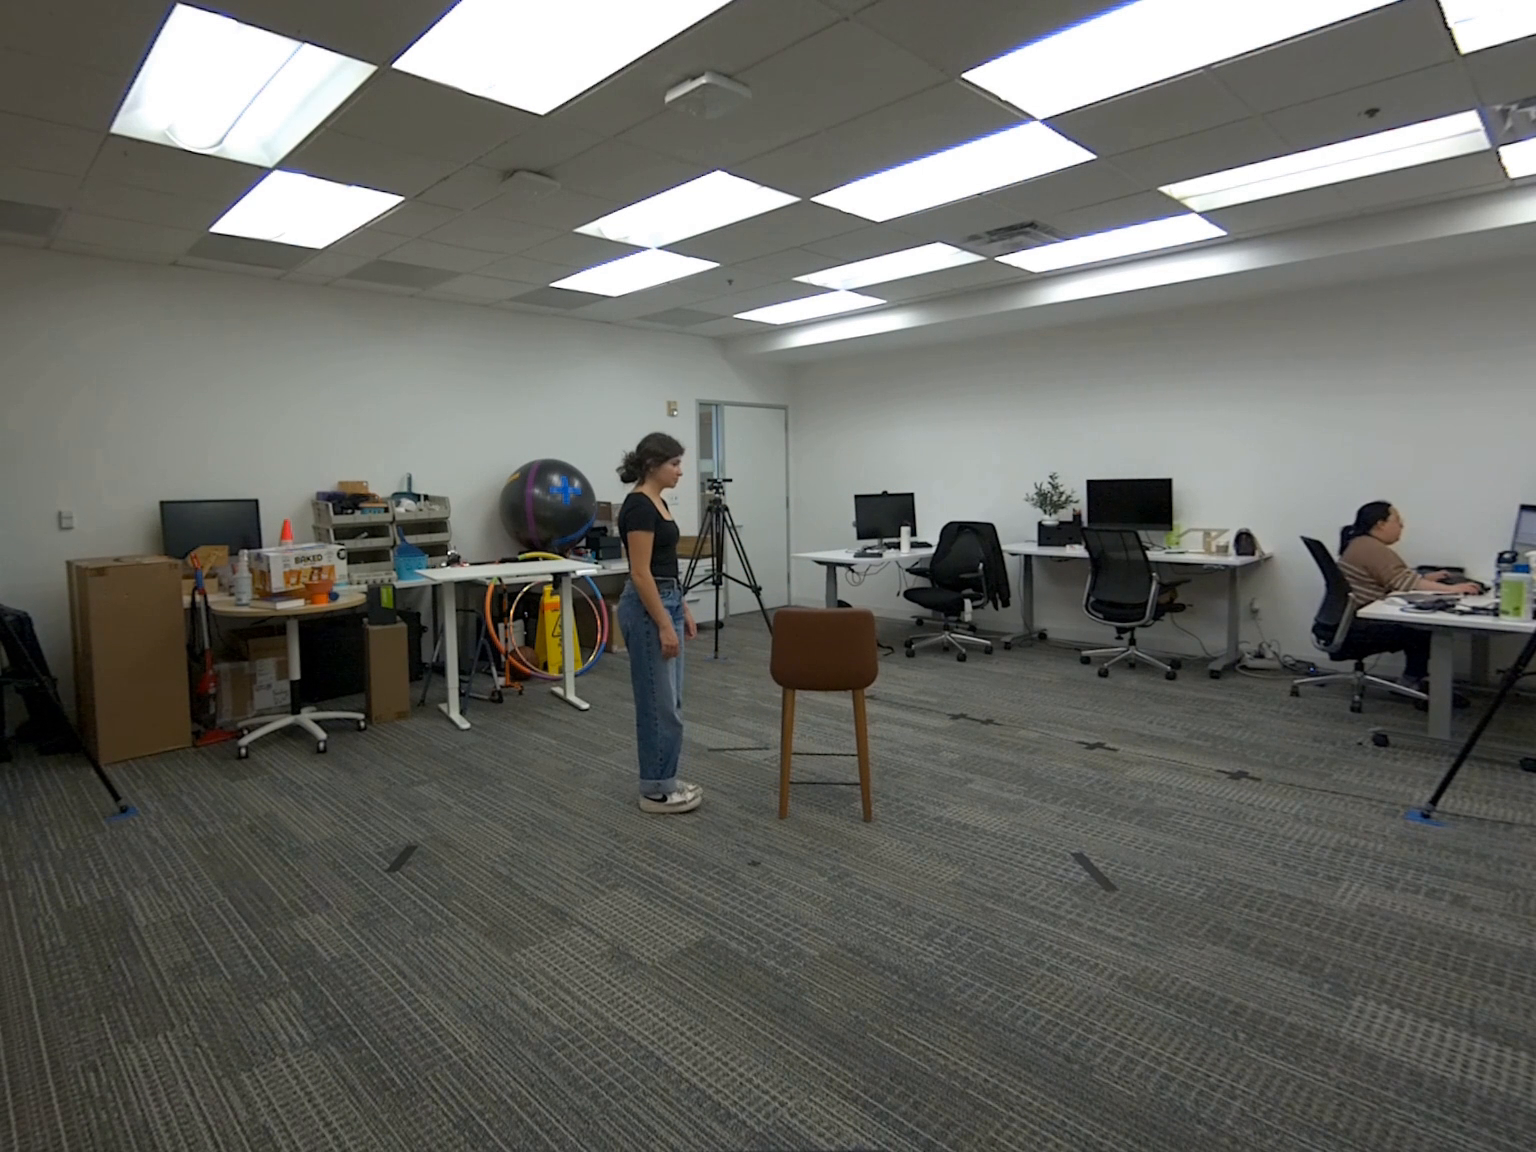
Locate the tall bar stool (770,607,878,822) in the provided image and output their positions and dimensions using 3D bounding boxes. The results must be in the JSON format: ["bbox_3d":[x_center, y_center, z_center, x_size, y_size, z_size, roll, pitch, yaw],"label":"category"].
[{"bbox_3d":[0.238,0.539,3.676,0.460,0.885,0.467,0,6,6],"label":"tall bar stool"}]
